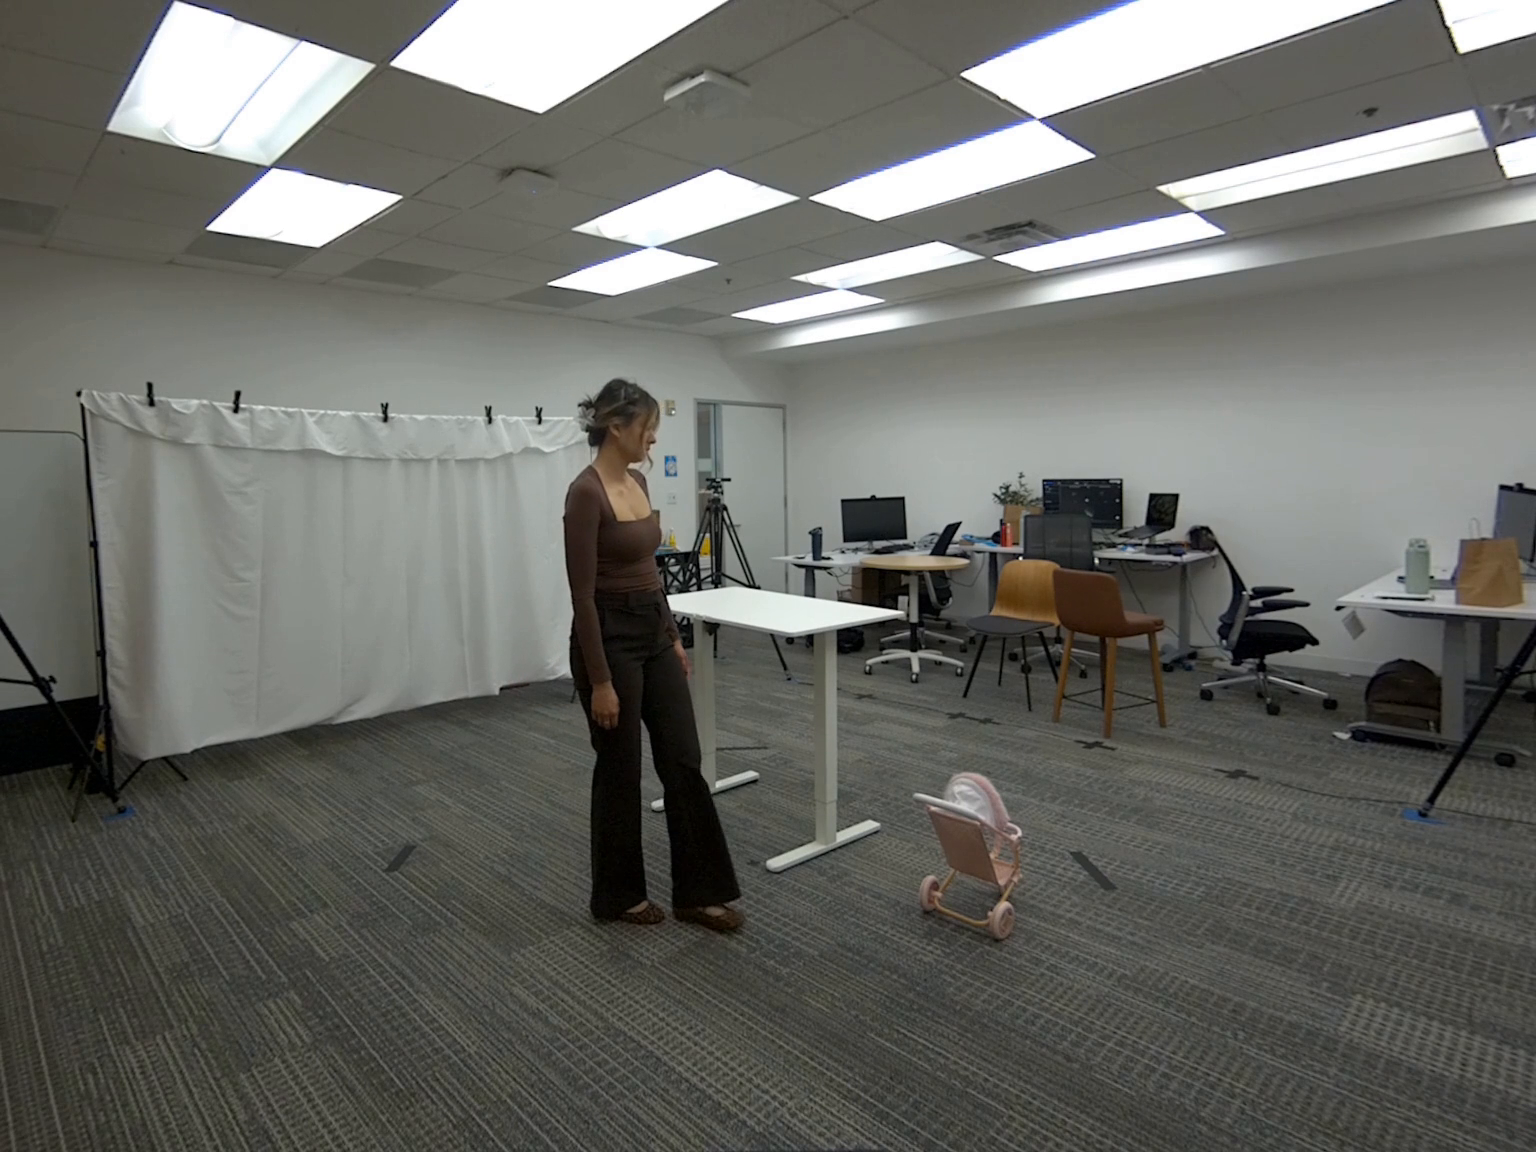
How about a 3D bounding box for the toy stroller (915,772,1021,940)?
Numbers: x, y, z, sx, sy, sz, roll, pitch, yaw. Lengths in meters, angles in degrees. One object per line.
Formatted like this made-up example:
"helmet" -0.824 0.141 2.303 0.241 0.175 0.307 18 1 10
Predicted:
"toy stroller" 0.661 0.856 2.689 0.336 0.527 0.290 -24 19 -39
